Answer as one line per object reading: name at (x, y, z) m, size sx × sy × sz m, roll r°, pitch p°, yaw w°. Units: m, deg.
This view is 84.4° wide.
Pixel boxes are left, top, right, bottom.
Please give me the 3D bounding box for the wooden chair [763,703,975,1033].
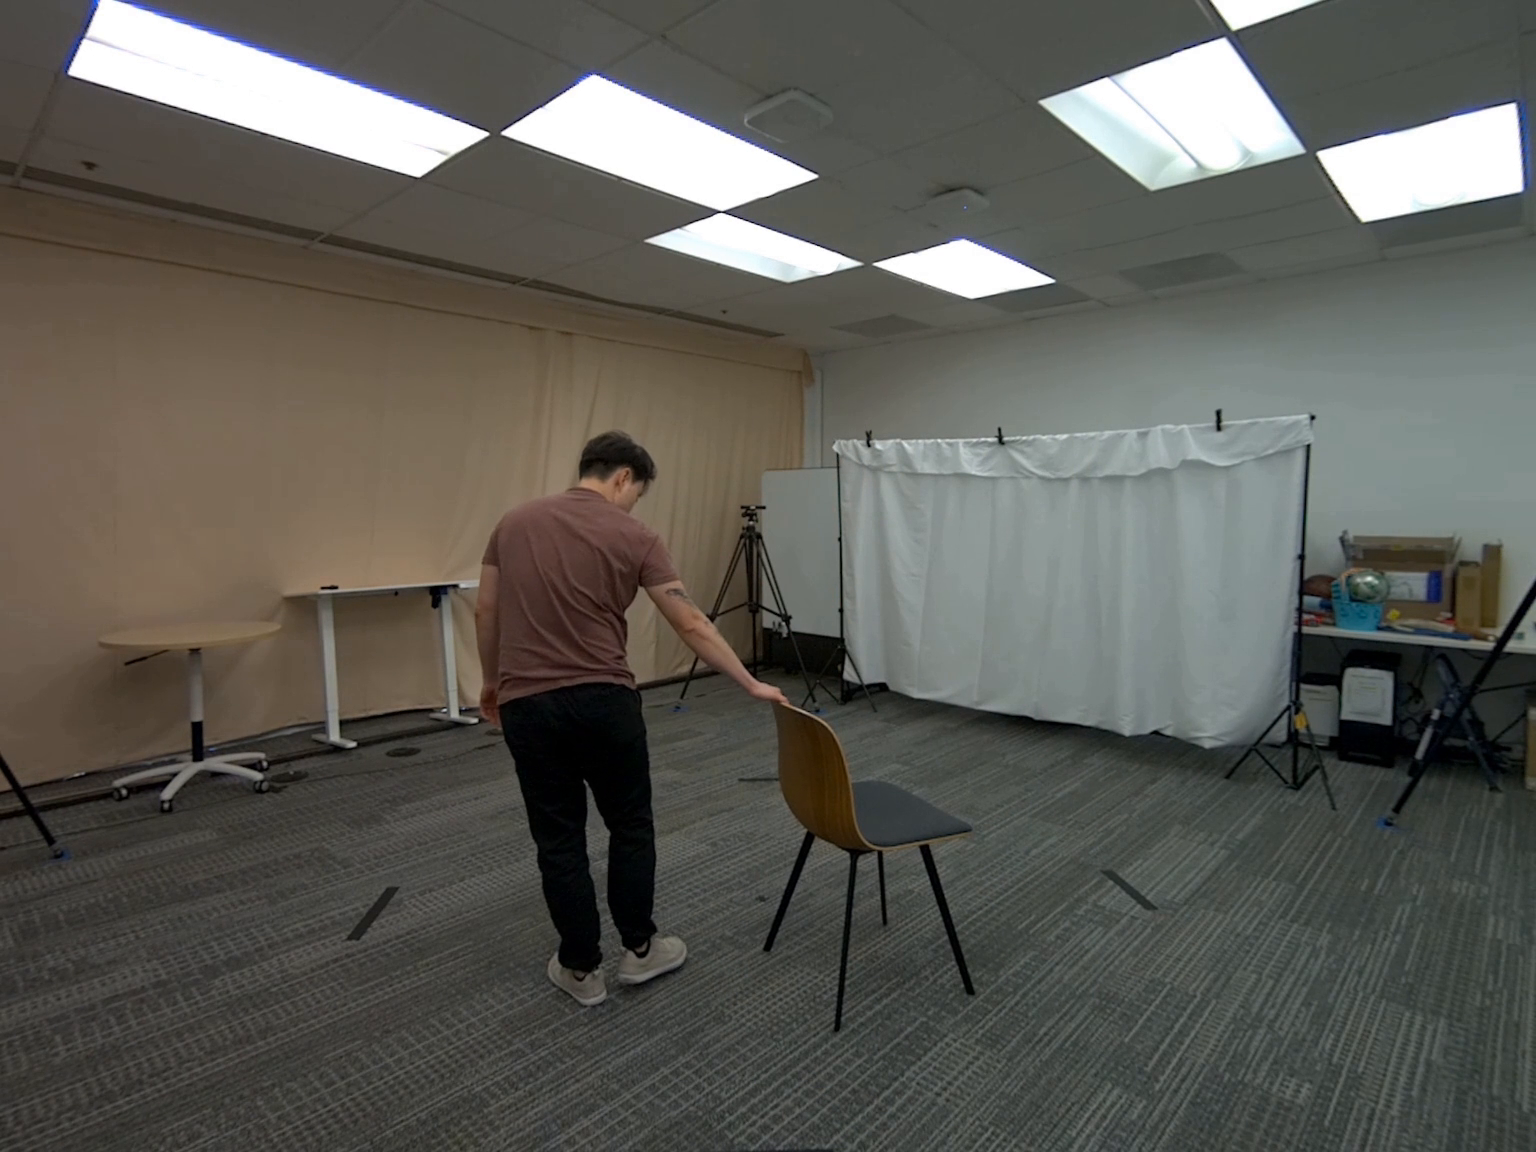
wooden chair at (0.297, 0.756, 2.493) m, size 0.512 × 0.874 × 0.490 m, roll -6°, pitch 5°, yaw -24°
